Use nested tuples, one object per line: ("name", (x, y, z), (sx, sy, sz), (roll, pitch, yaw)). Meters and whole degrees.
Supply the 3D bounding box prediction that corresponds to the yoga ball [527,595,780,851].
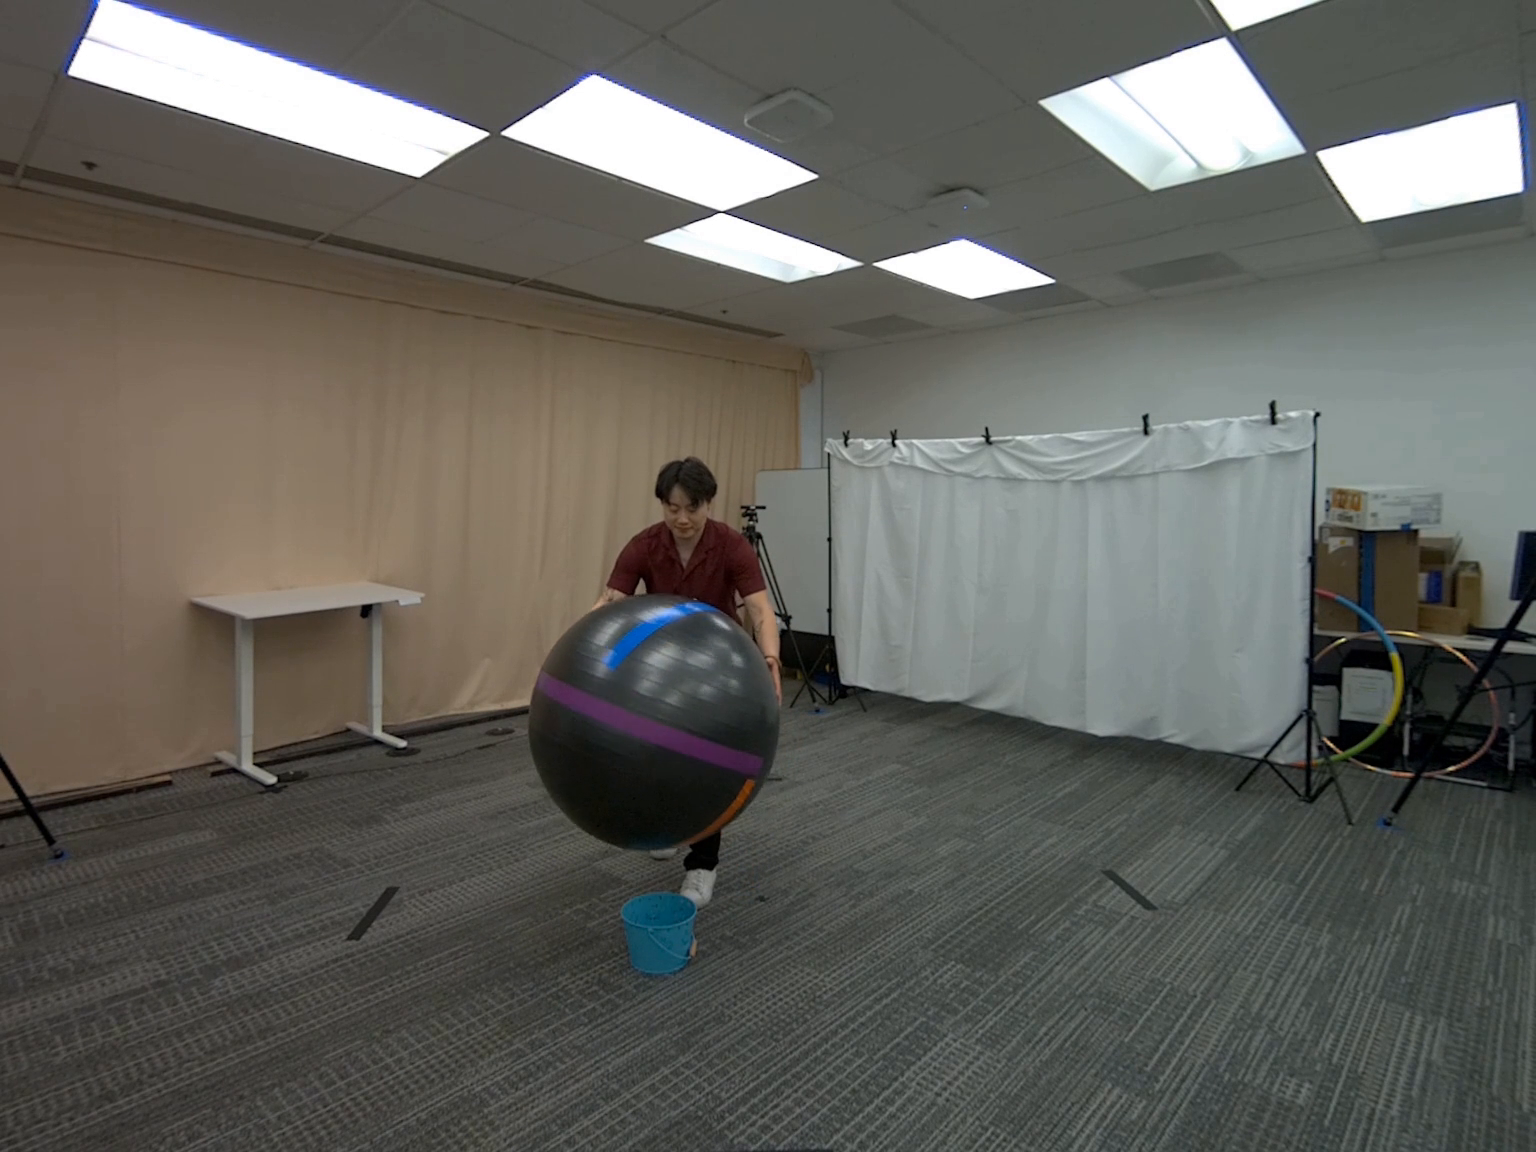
("yoga ball", (-0.339, 0.436, 2.569), (0.757, 0.756, 0.760), (0, 4, -2))
